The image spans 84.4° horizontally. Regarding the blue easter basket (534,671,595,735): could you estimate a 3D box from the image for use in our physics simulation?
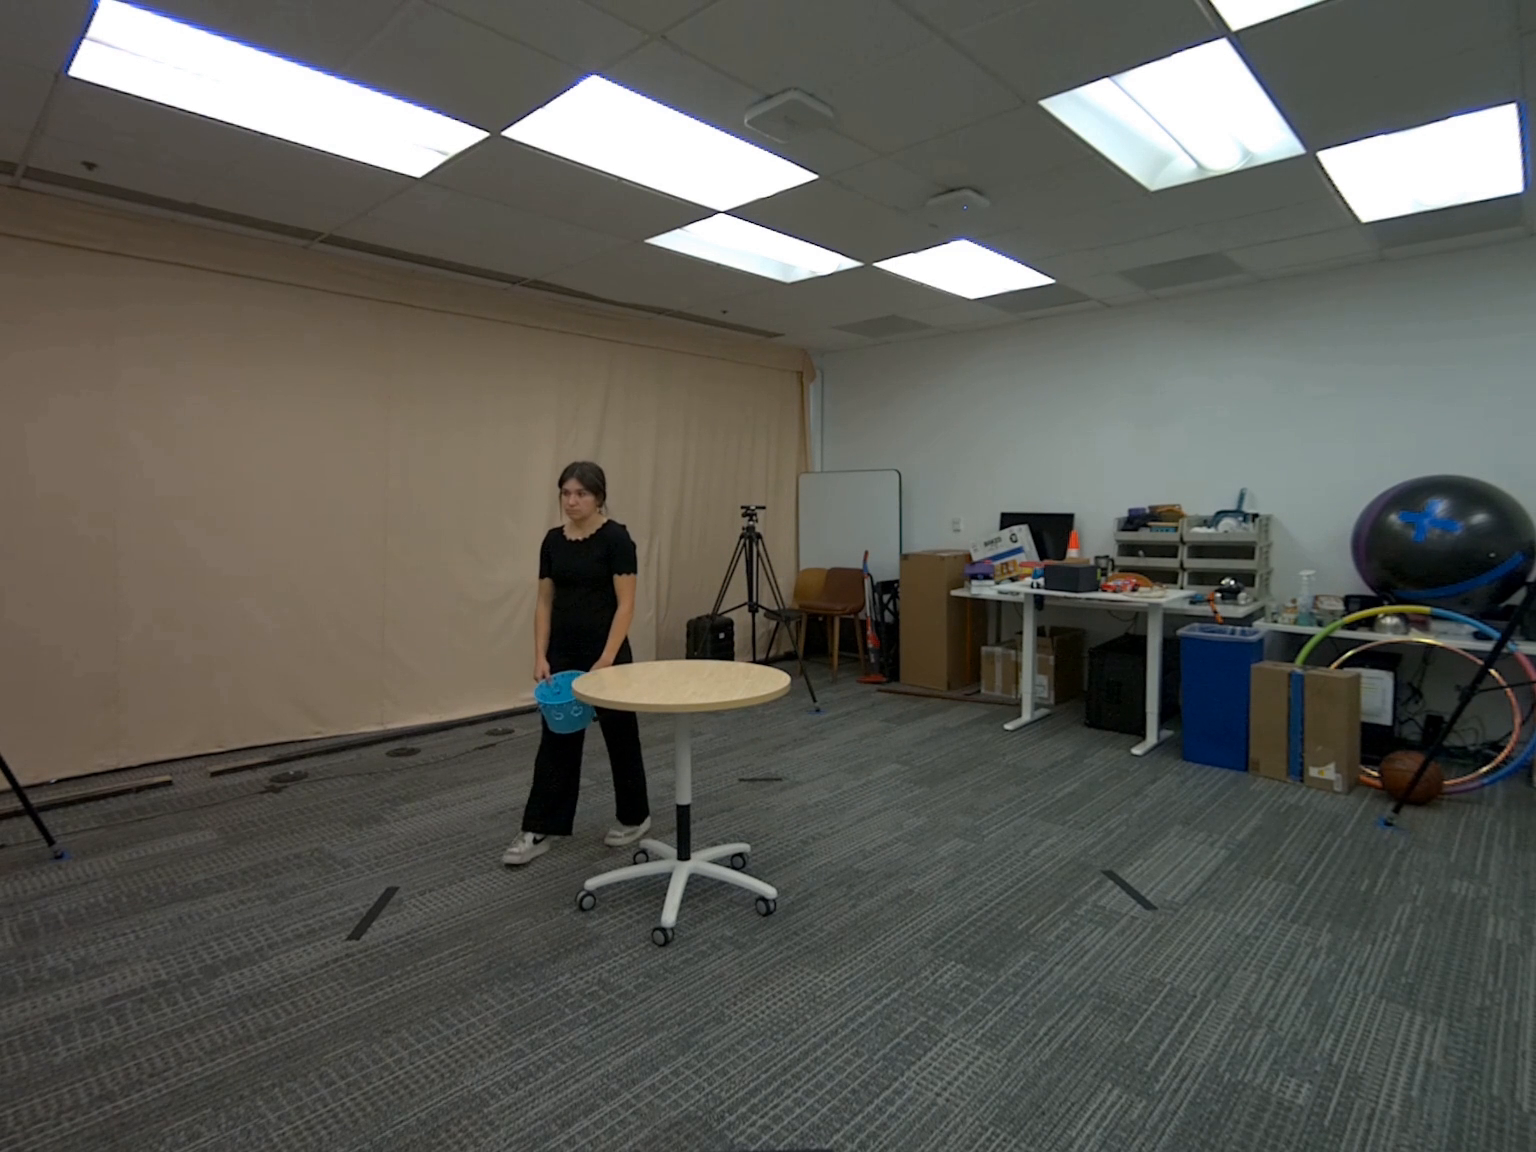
[{"bbox_3d":[-0.786,0.488,3.271,0.244,0.153,0.247,-6,23,0],"label":"blue easter basket"}]
